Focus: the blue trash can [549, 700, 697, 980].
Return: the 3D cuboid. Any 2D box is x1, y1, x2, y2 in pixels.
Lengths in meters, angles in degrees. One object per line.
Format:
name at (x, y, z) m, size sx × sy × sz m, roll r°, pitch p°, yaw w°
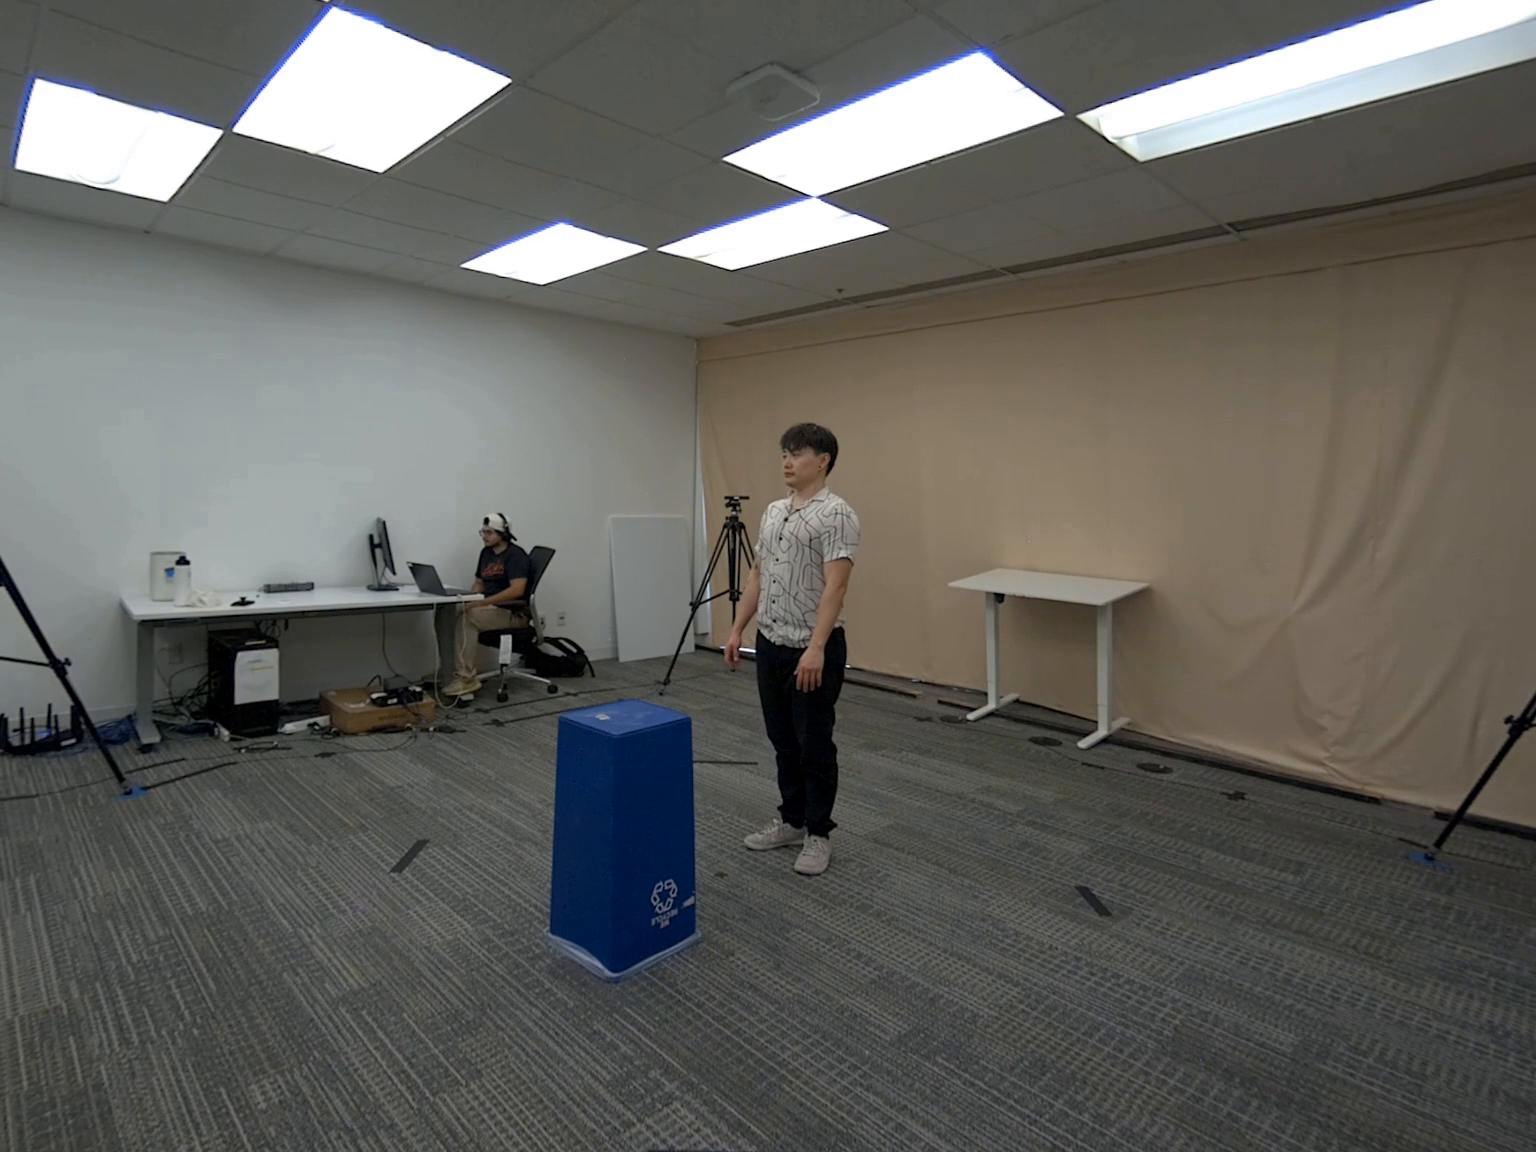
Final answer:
blue trash can at (-0.463, 0.789, 2.620) m, size 0.387 × 0.712 × 0.366 m, roll 3°, pitch 5°, yaw 44°
